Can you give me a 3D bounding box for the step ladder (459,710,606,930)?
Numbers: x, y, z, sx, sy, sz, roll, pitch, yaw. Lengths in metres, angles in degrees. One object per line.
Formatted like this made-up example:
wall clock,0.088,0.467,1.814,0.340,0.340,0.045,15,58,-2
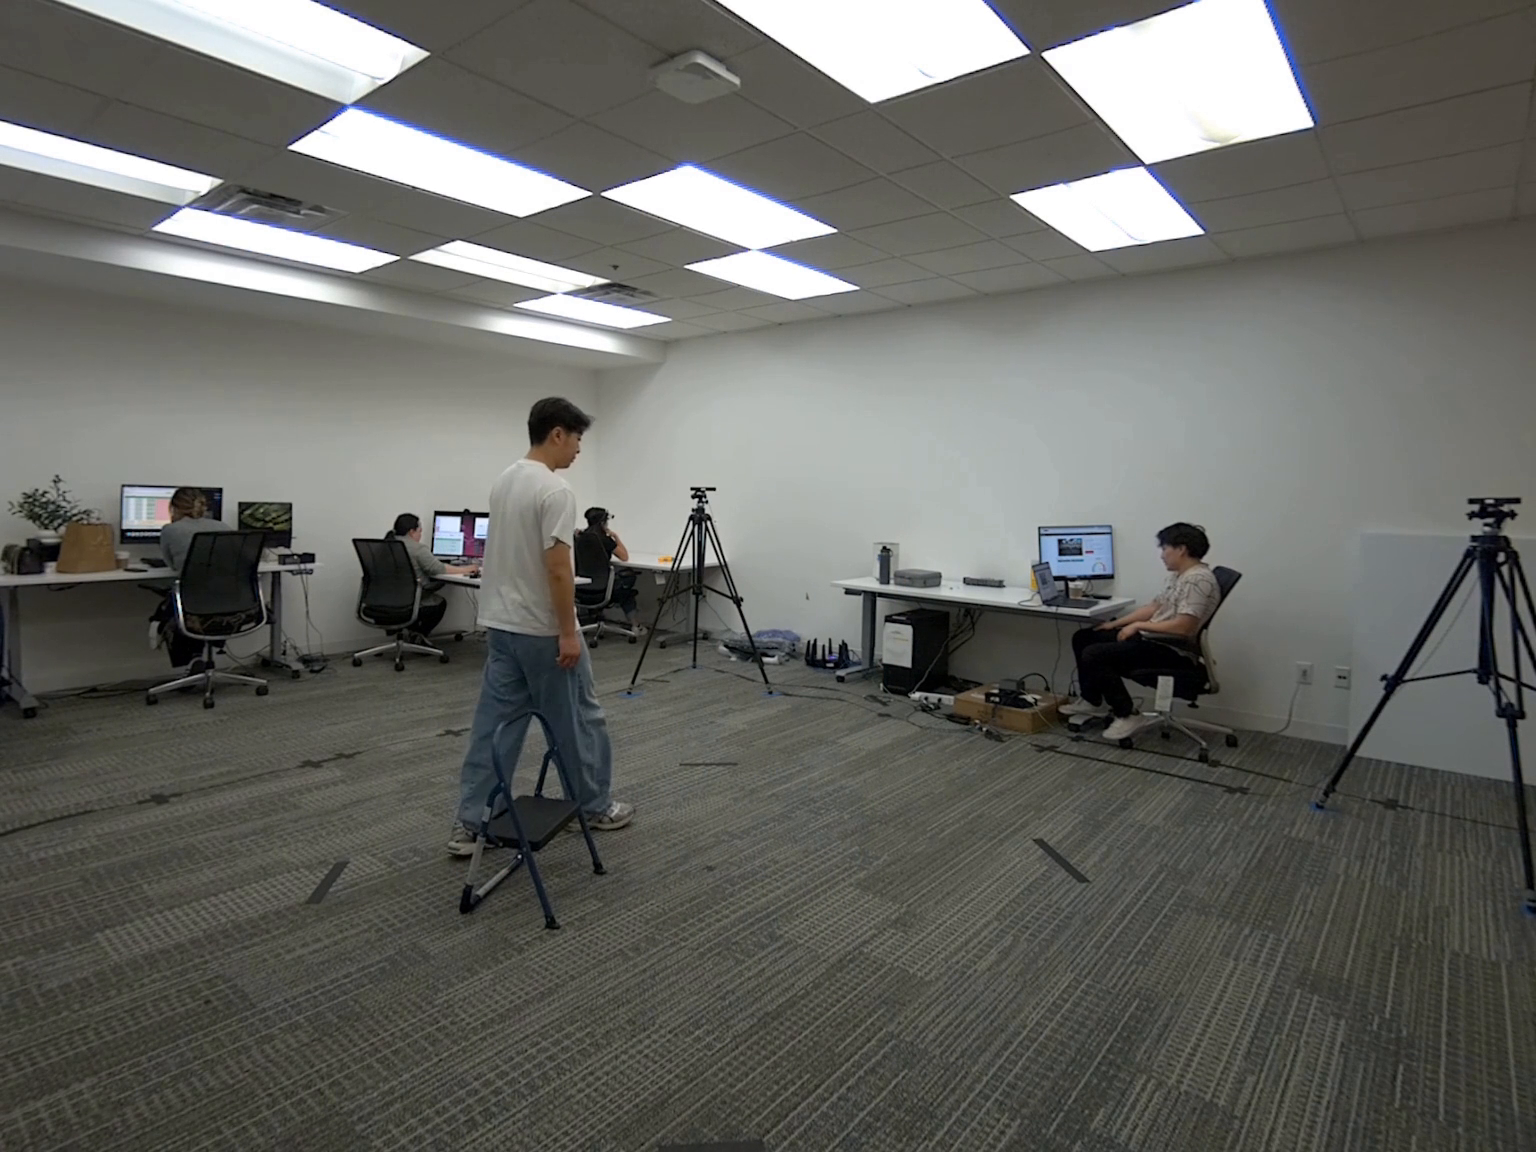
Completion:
step ladder,-0.797,0.775,2.886,0.354,0.604,0.426,2,4,12
